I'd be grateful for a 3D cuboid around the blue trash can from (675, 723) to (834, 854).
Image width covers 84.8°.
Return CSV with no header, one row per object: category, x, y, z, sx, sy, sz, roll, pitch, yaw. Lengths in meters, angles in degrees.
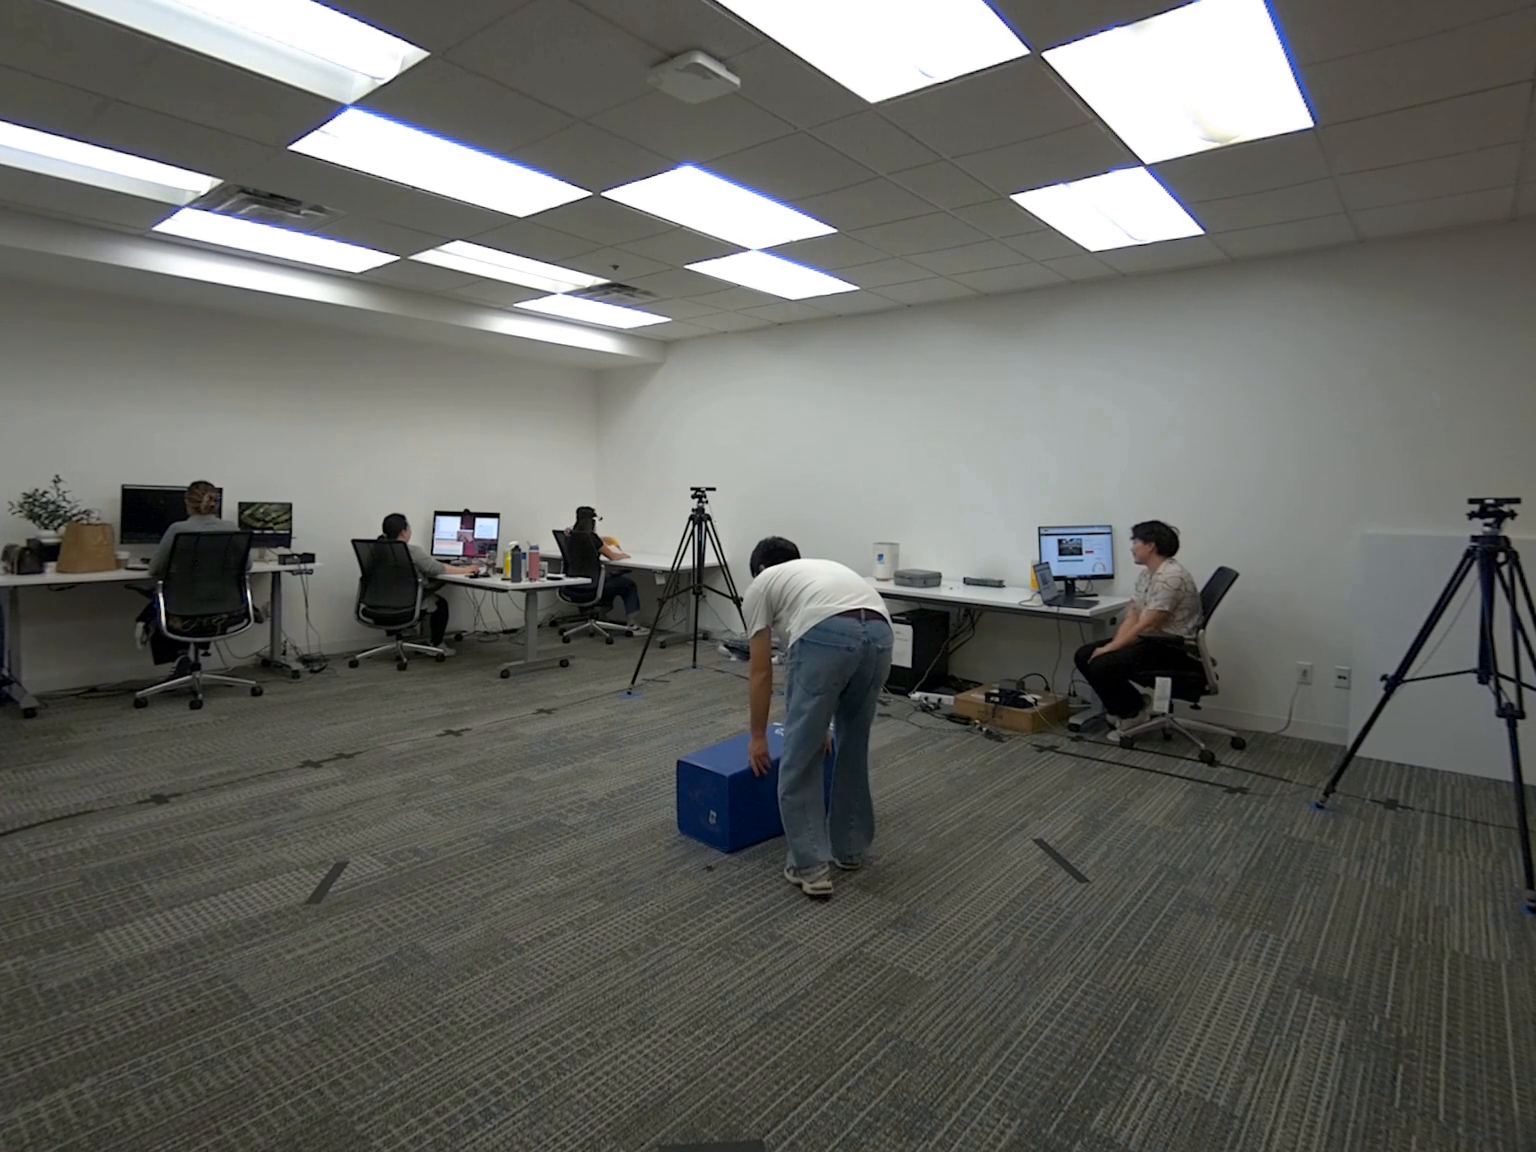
blue trash can,-0.026,0.860,3.559,0.387,0.376,0.694,5,10,44
